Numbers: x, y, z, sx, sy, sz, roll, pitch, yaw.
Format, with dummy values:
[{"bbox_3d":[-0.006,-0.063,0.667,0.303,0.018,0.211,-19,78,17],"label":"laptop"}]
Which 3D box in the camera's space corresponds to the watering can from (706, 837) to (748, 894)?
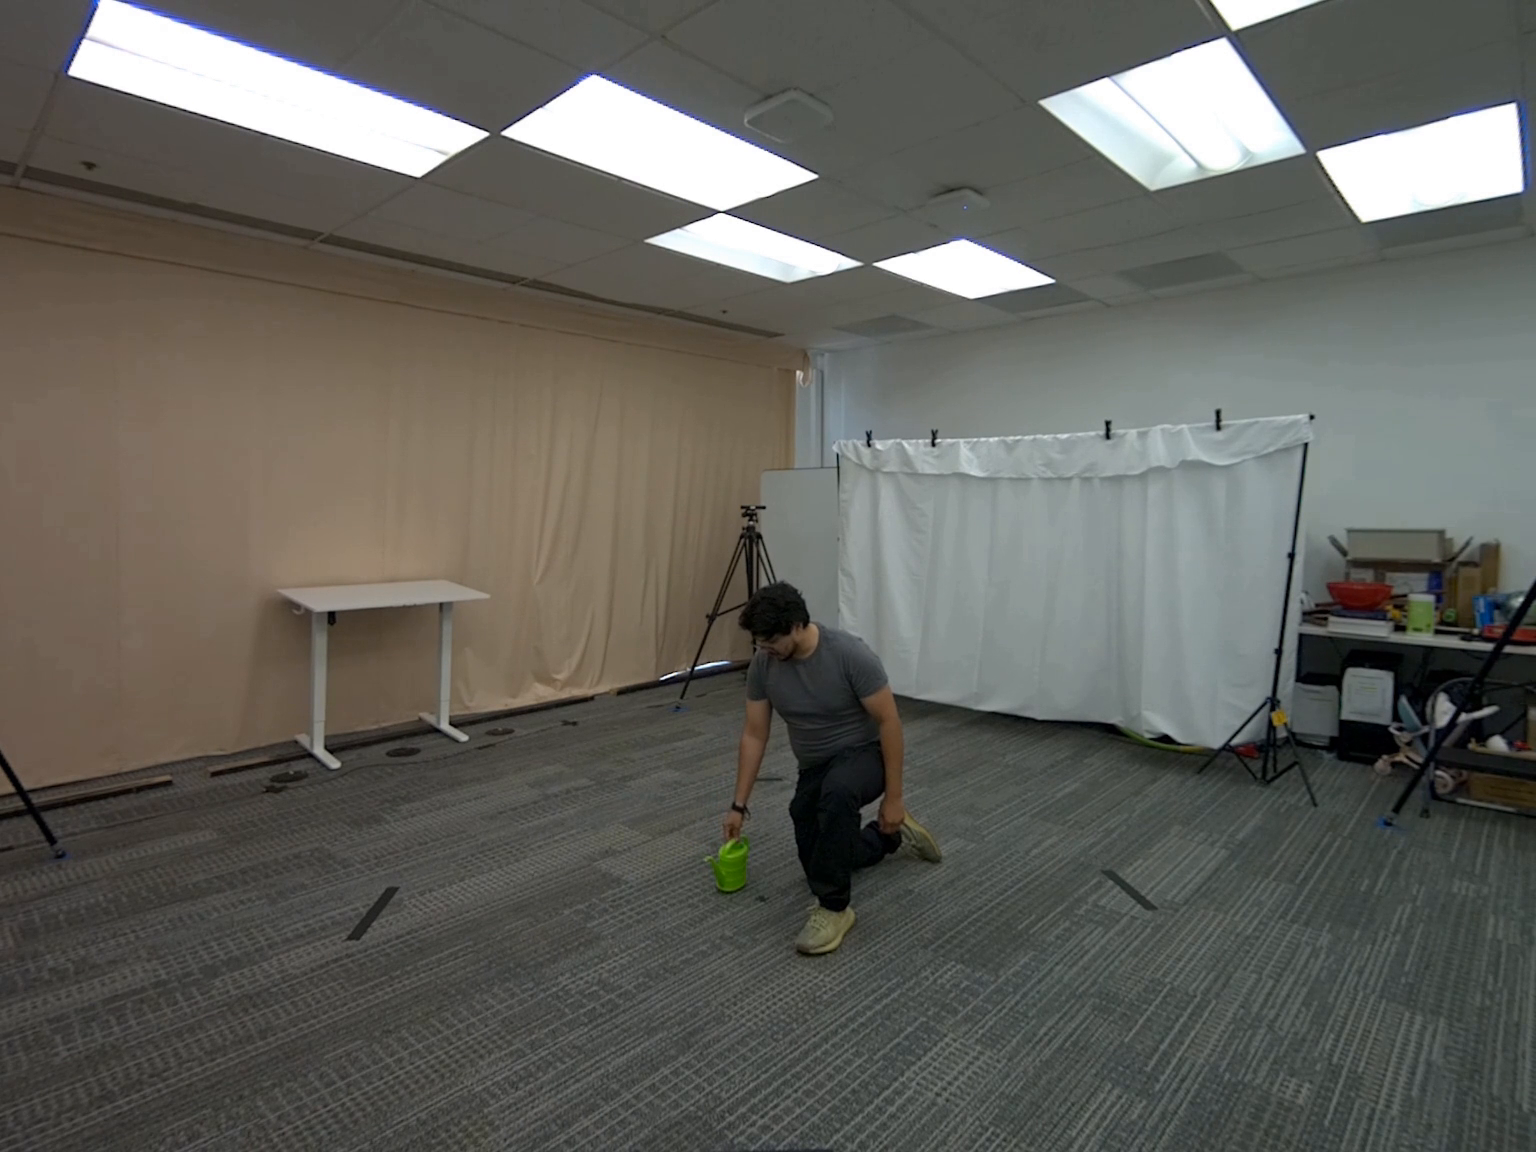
[{"bbox_3d":[-0.156,1.046,3.036,0.270,0.176,0.101,-6,11,-43],"label":"watering can"}]
